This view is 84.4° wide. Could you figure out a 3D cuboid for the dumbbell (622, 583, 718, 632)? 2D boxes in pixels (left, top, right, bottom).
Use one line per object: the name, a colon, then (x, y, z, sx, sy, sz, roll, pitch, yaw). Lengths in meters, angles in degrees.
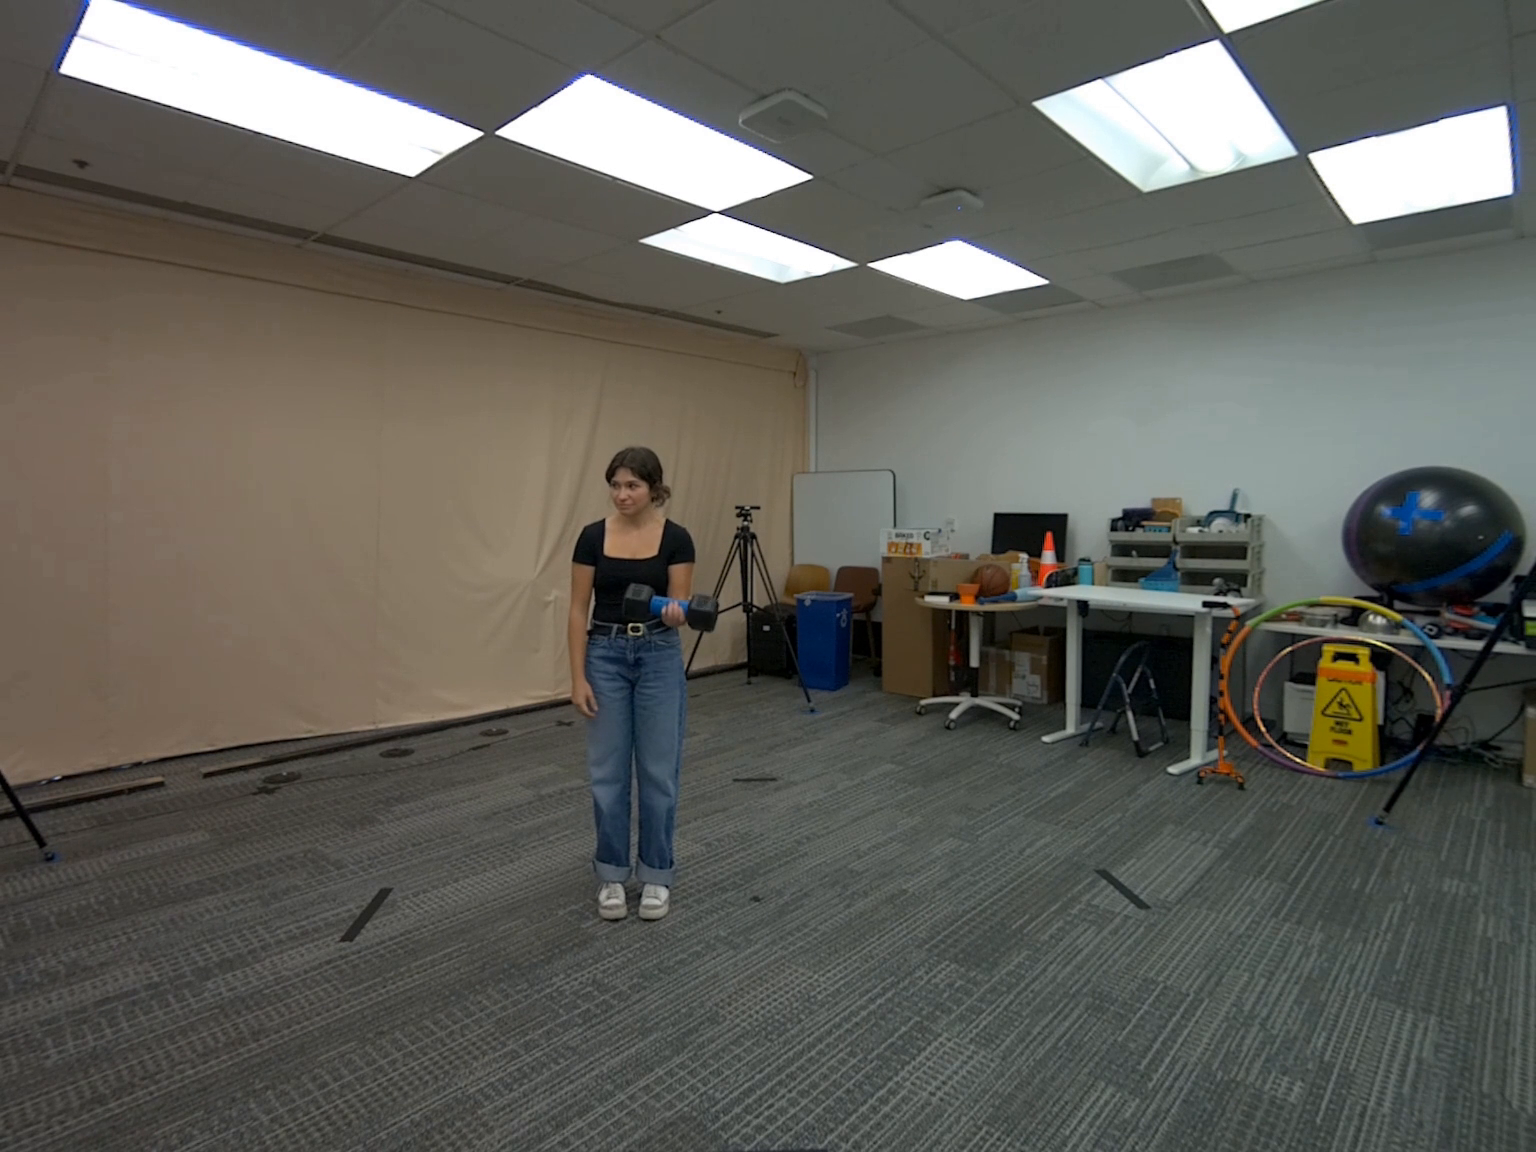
dumbbell: (-0.308, 0.097, 2.672, 0.296, 0.109, 0.121, 8, -14, 8)
